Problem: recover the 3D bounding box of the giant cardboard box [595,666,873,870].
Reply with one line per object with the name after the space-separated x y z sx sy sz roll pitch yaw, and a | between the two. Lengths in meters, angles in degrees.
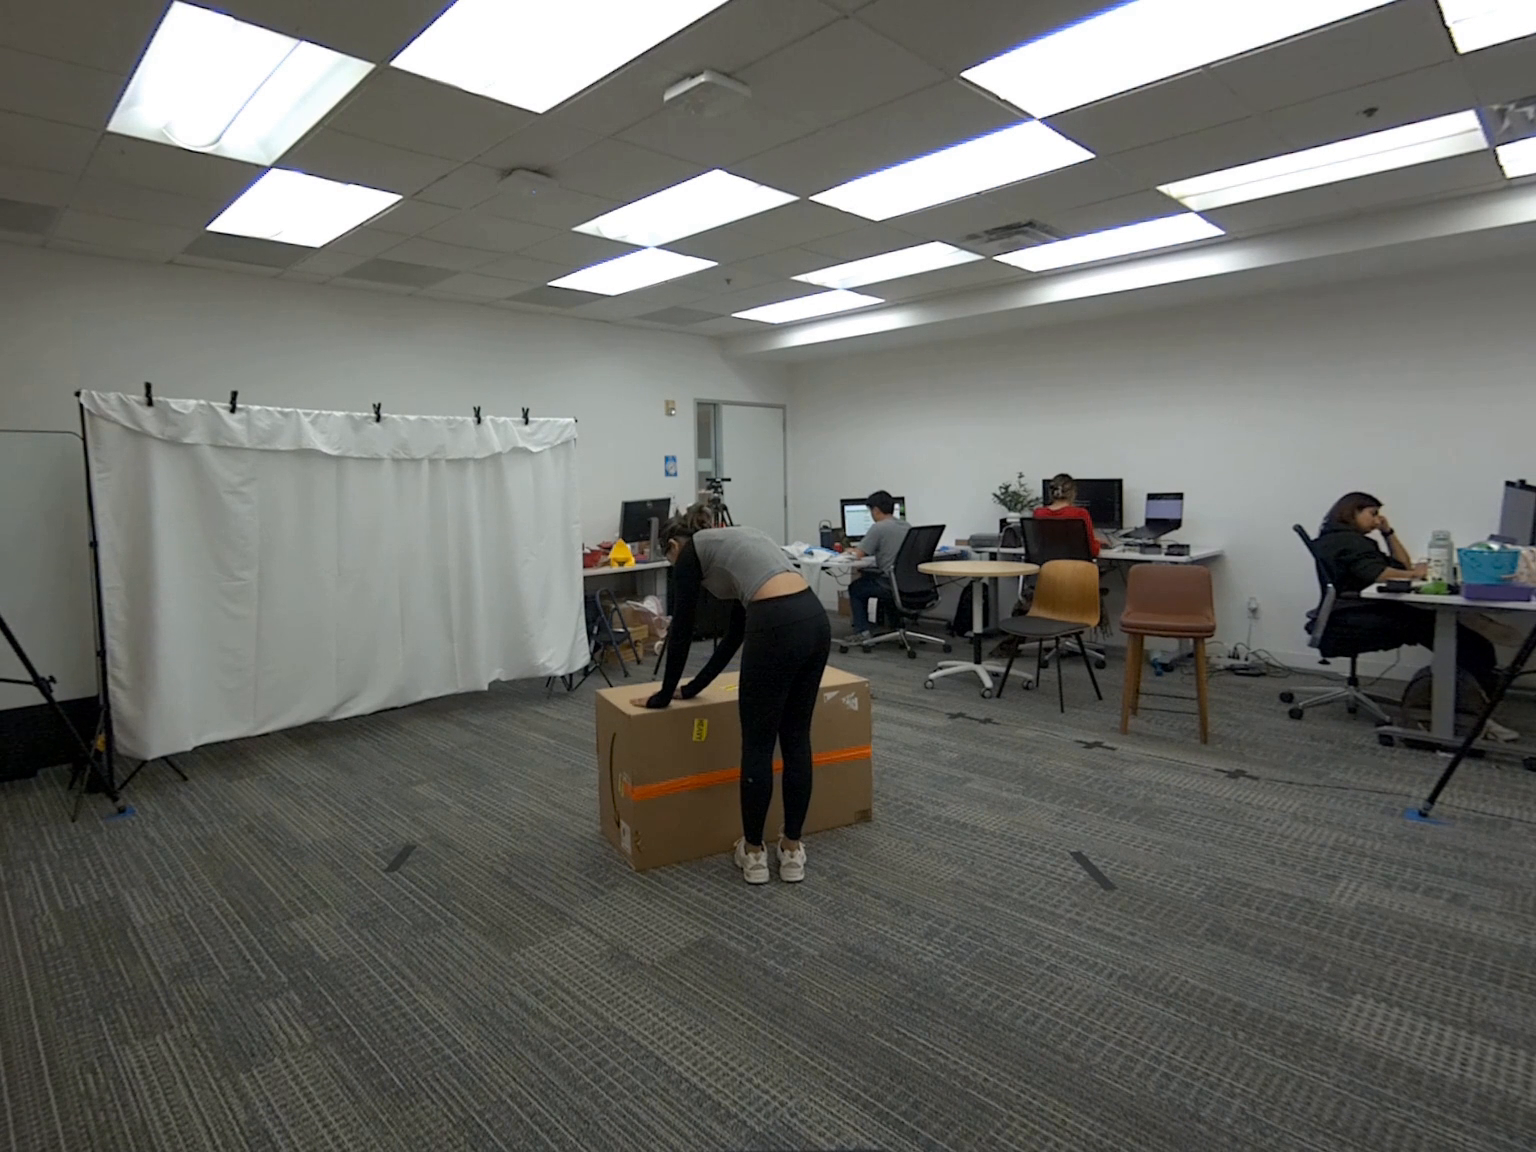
-0.132 0.719 3.428 1.005 0.575 0.437 -4 5 -25 | giant cardboard box
